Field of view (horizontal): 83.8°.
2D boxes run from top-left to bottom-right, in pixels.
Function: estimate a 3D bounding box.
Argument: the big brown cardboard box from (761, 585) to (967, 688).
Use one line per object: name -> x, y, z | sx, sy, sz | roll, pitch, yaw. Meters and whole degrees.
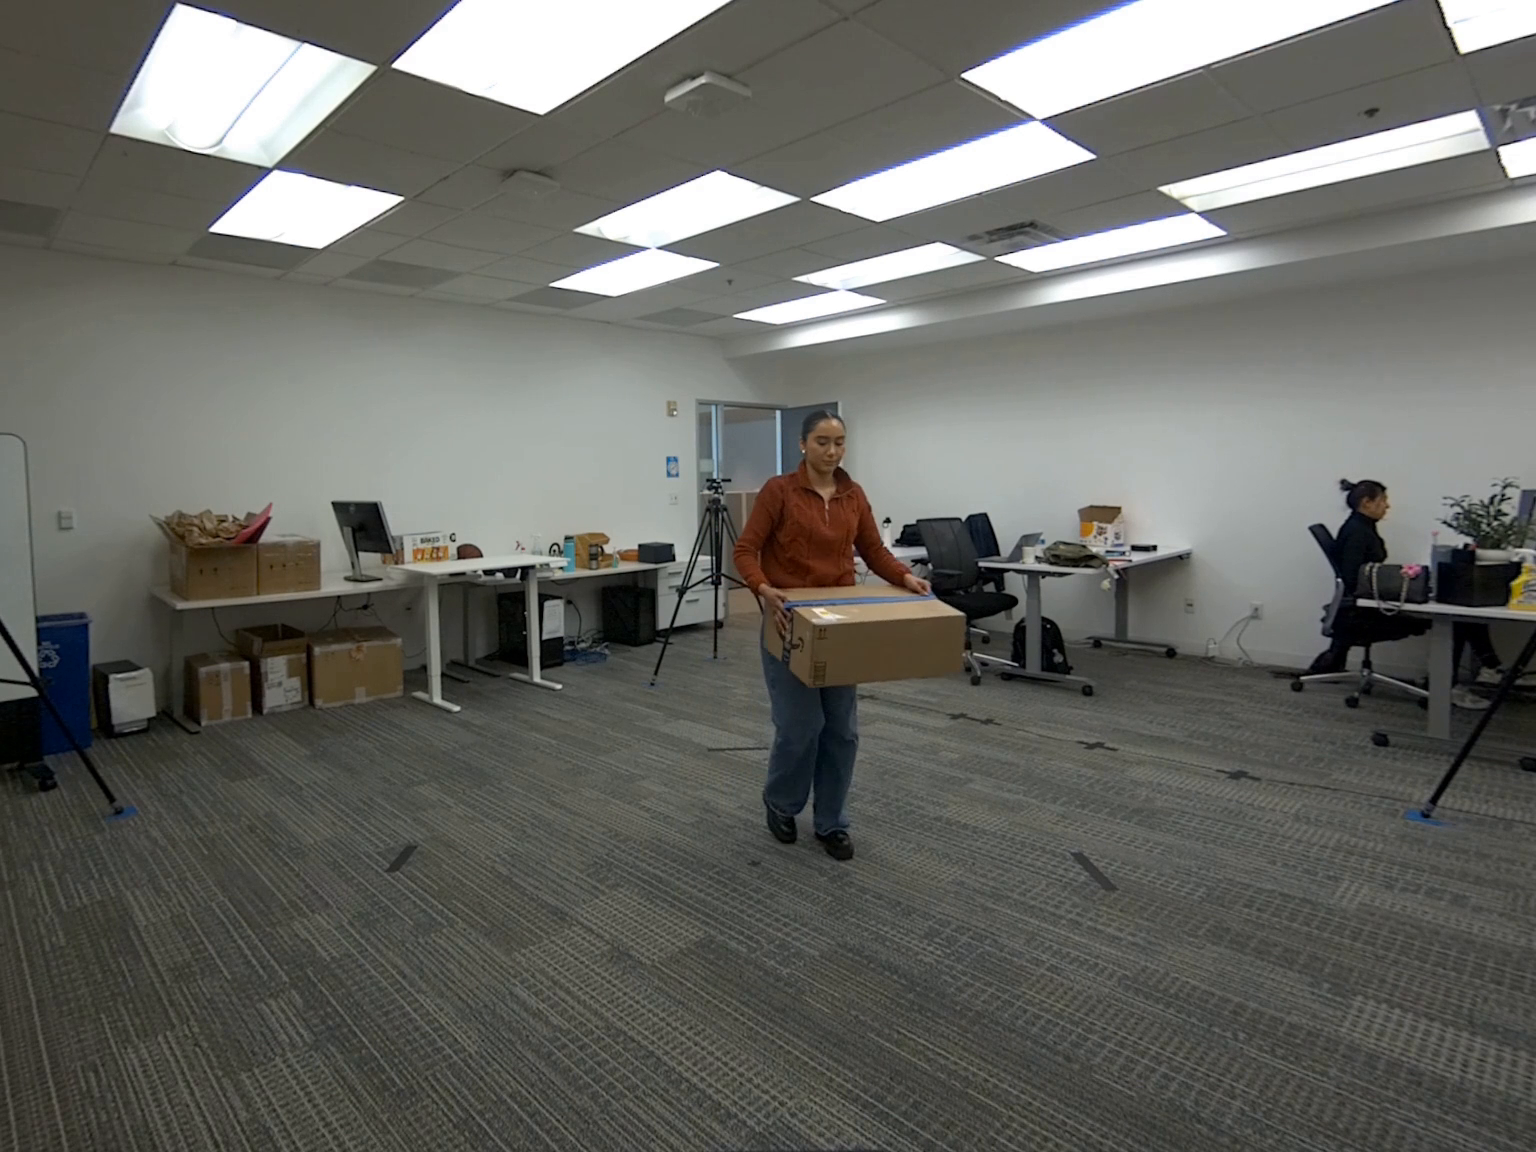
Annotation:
big brown cardboard box -> 0.316, 0.189, 2.965 | 0.579, 0.231, 0.429 | -3, 13, -19
